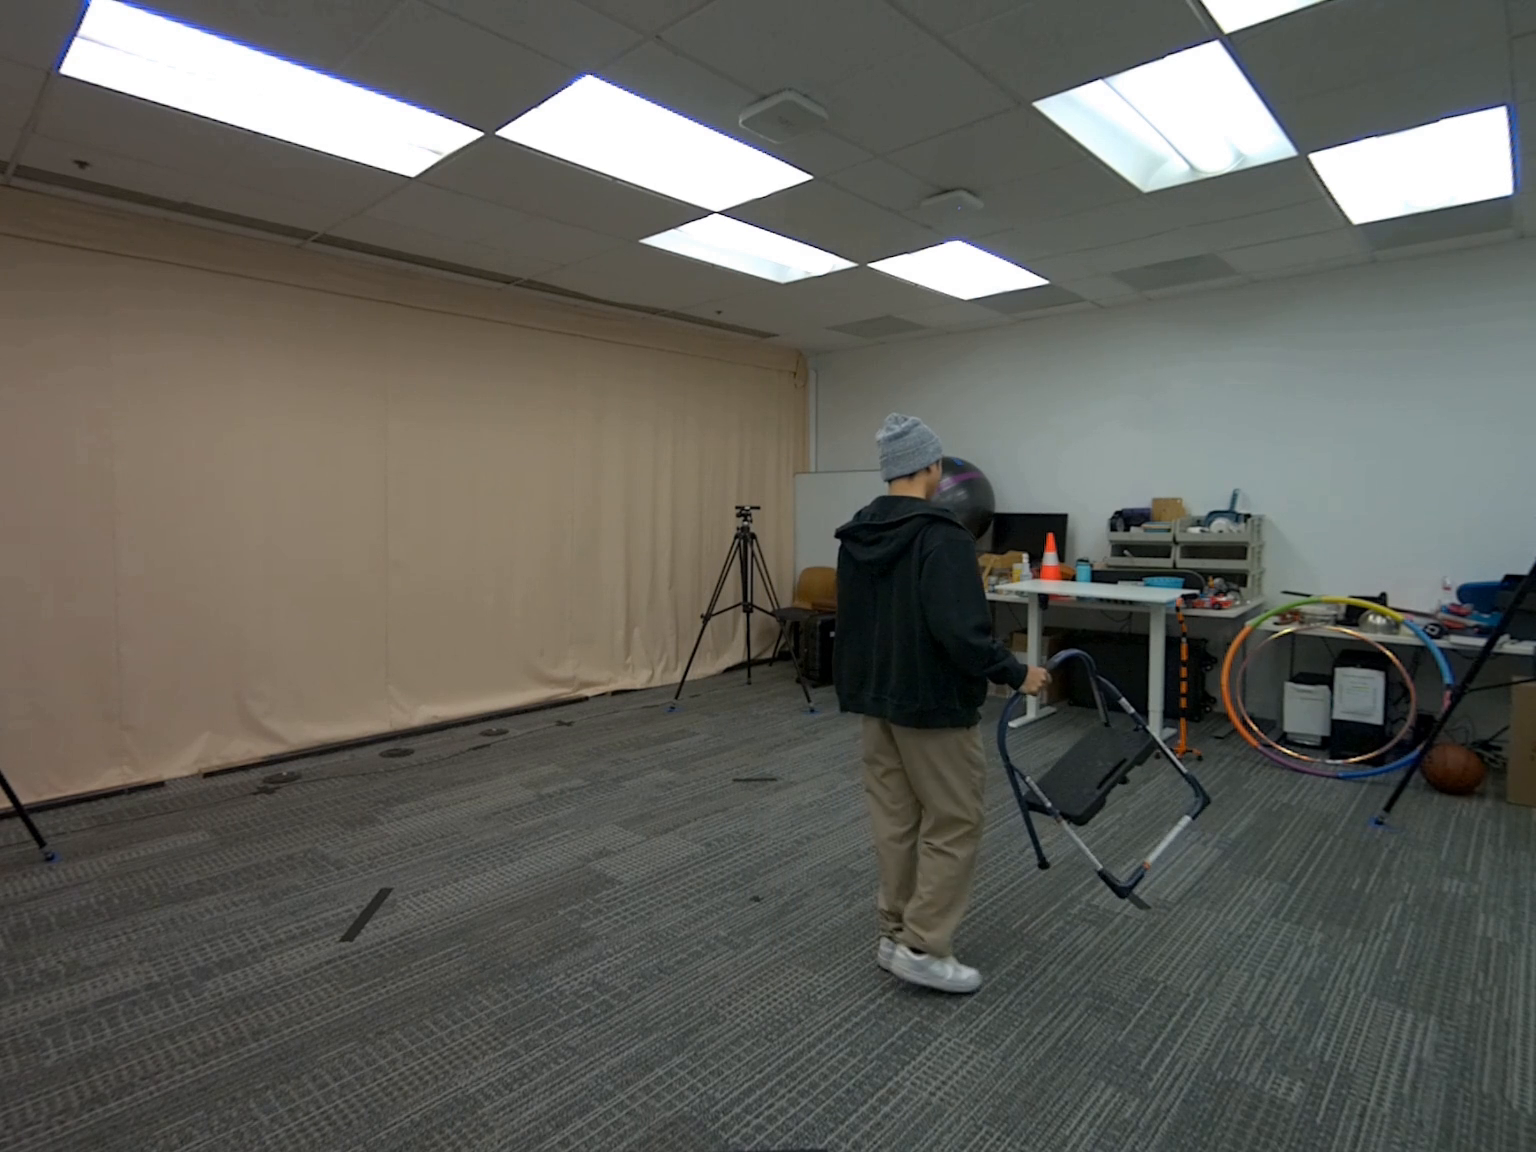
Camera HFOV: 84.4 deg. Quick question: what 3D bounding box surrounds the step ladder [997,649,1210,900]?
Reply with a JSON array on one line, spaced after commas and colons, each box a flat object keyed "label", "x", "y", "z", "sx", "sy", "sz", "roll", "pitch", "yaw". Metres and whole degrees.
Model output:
[{"label": "step ladder", "x": 0.898, "y": 0.529, "z": 2.461, "sx": 0.427, "sy": 0.601, "sz": 0.356, "roll": -37, "pitch": 9, "yaw": -20}]
